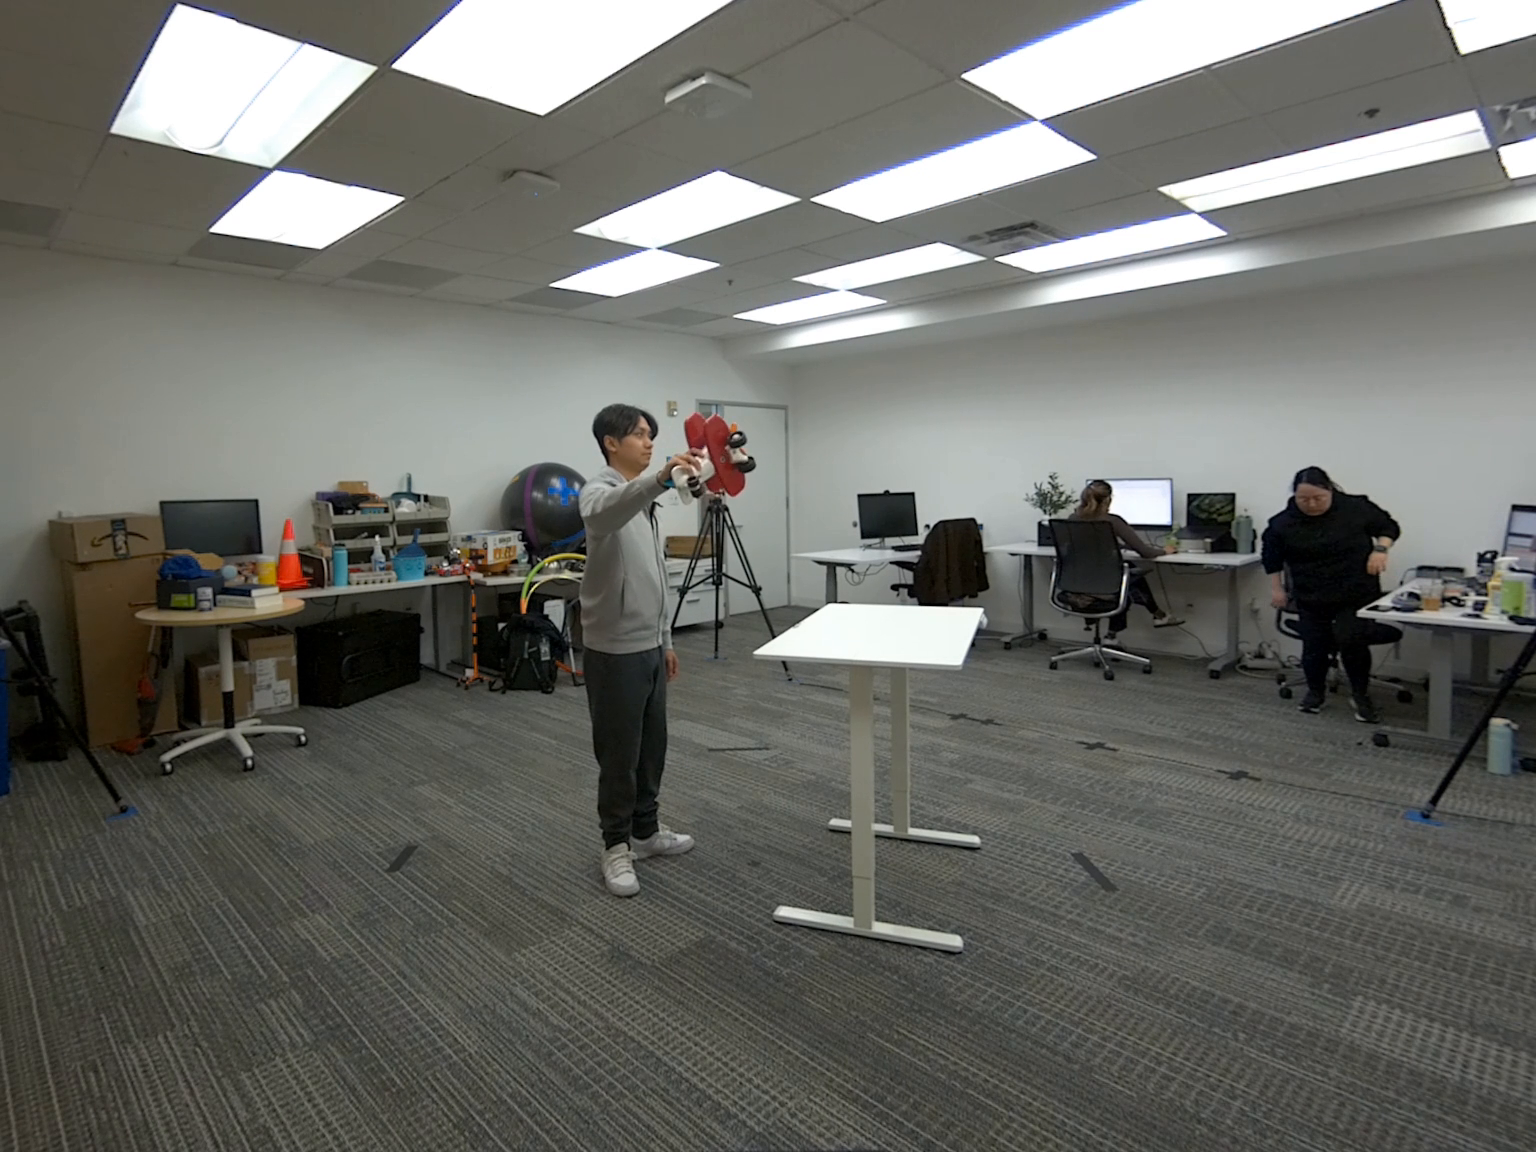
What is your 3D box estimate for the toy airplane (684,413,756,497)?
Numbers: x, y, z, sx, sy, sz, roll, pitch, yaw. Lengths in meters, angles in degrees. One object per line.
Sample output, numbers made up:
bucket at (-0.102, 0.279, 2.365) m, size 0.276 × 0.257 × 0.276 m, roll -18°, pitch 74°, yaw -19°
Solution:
toy airplane at (-0.168, -0.322, 2.401) m, size 0.253 × 0.247 × 0.162 m, roll -10°, pitch 25°, yaw -34°
